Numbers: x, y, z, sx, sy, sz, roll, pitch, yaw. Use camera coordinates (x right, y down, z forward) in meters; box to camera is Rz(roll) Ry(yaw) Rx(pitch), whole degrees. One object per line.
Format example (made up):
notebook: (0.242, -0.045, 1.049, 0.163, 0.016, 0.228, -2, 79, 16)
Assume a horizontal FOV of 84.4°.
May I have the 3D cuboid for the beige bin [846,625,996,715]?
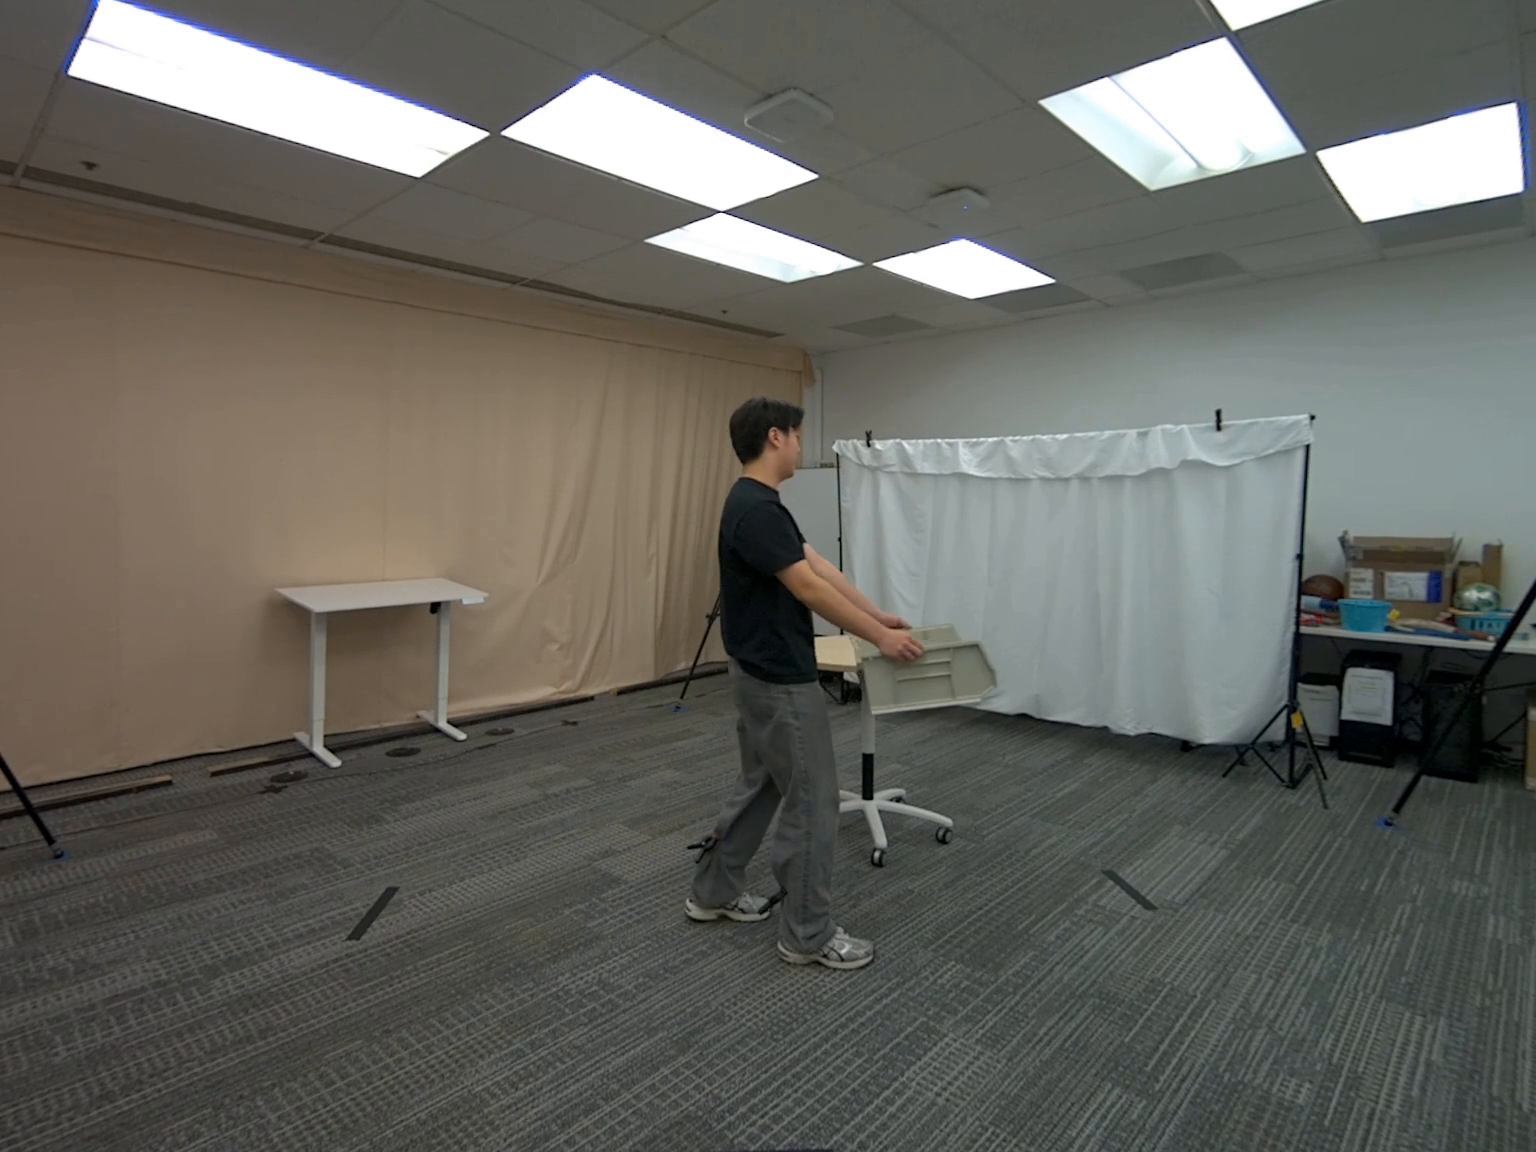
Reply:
beige bin: (0.477, 0.277, 2.614, 0.379, 0.188, 0.422, -9, 3, 3)
